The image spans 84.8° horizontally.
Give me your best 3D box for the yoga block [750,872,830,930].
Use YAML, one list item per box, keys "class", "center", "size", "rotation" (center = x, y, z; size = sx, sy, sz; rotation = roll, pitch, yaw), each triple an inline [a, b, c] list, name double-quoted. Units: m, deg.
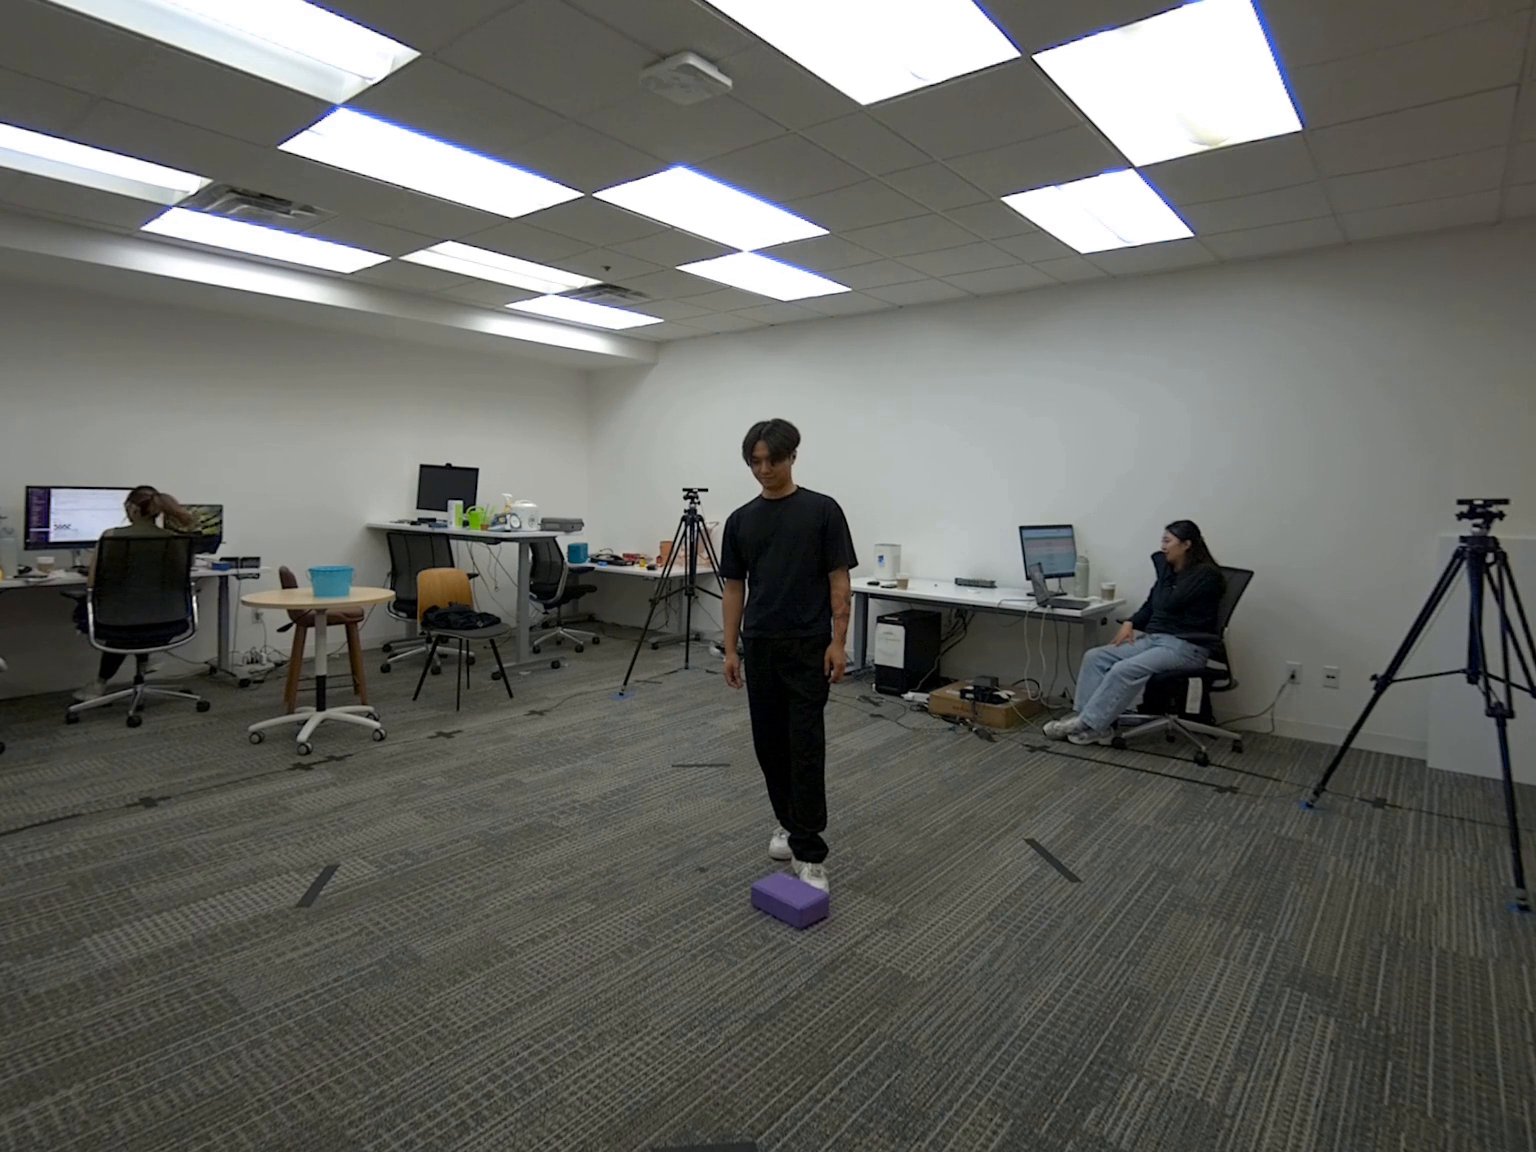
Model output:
- class: "yoga block"
  center: [0.067, 1.061, 2.809]
  size: [0.145, 0.076, 0.237]
  rotation: [-7, 10, -44]
